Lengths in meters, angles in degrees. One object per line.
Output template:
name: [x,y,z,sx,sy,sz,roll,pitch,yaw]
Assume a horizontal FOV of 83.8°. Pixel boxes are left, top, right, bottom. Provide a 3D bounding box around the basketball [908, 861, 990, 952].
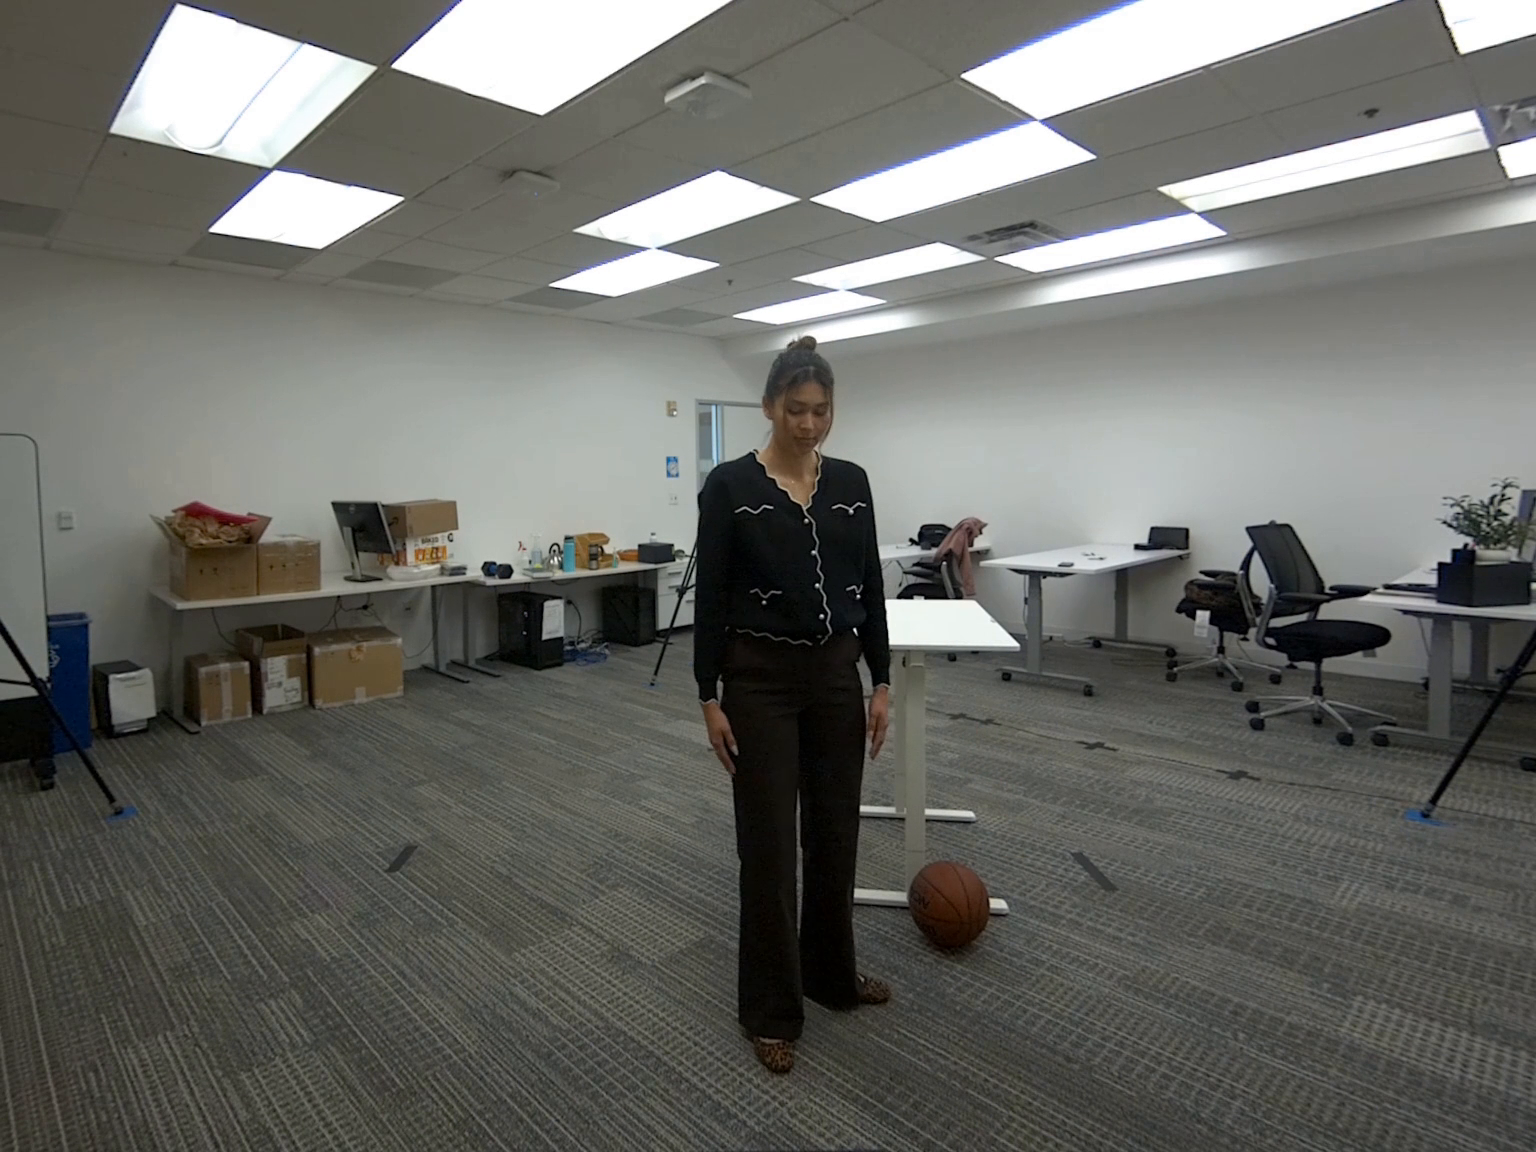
basketball: [0.548,0.981,2.553,0.236,0.235,0.237,-1,5,-2]
